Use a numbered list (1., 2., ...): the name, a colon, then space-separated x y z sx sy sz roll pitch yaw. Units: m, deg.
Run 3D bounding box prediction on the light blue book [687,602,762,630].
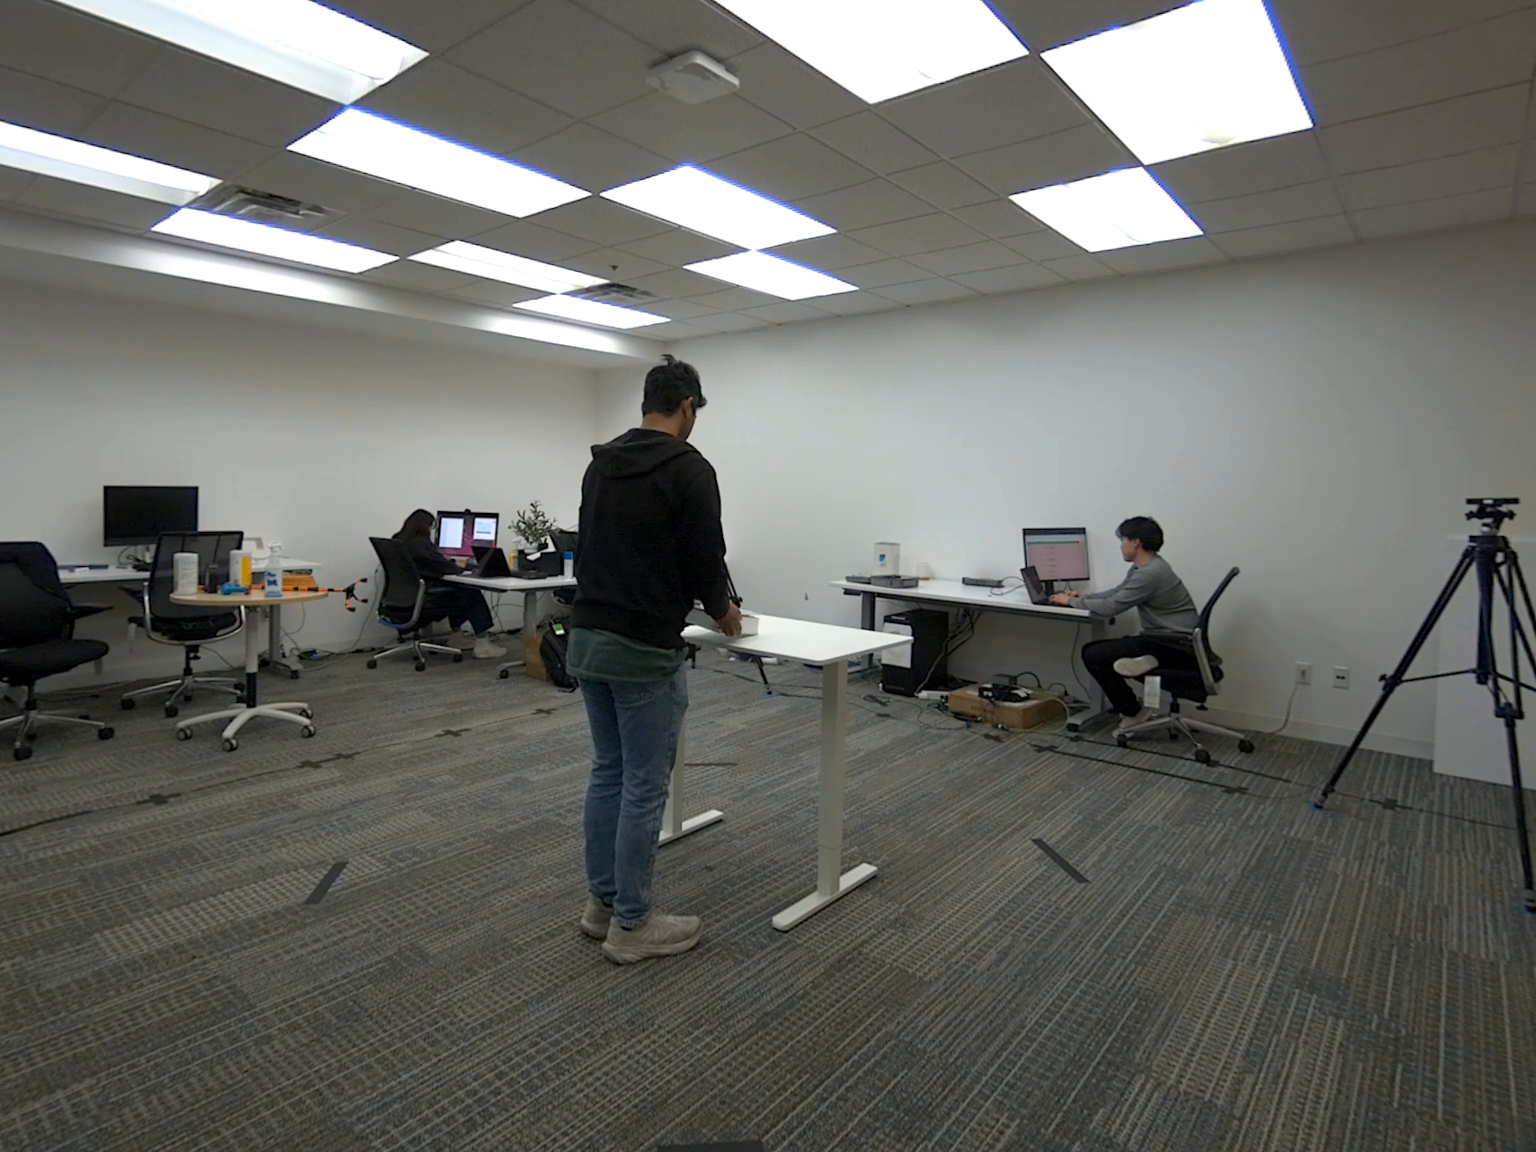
1. light blue book: -0.161 0.137 2.922 0.196 0.059 0.255 10 3 21
